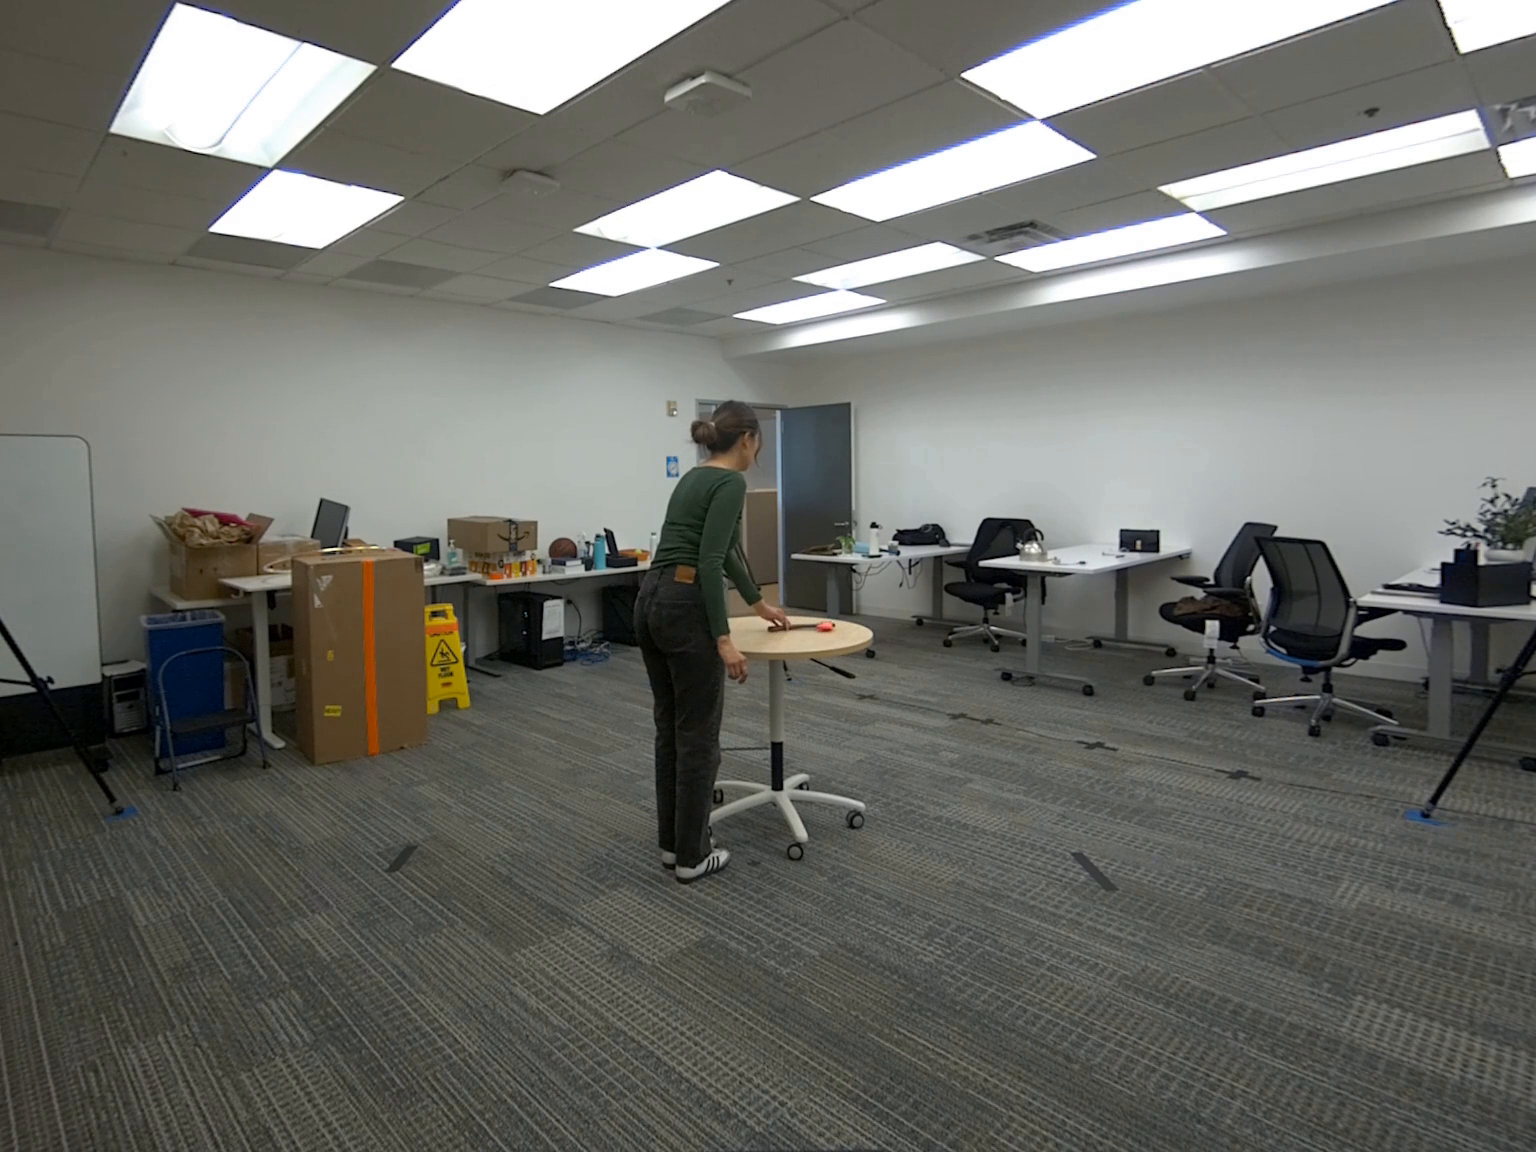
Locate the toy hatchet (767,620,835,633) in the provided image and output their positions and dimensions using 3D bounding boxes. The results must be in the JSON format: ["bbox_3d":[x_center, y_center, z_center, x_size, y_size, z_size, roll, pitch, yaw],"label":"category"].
[{"bbox_3d":[0.147,0.208,3.426,0.265,0.029,0.134,-5,7,-21],"label":"toy hatchet"}]
